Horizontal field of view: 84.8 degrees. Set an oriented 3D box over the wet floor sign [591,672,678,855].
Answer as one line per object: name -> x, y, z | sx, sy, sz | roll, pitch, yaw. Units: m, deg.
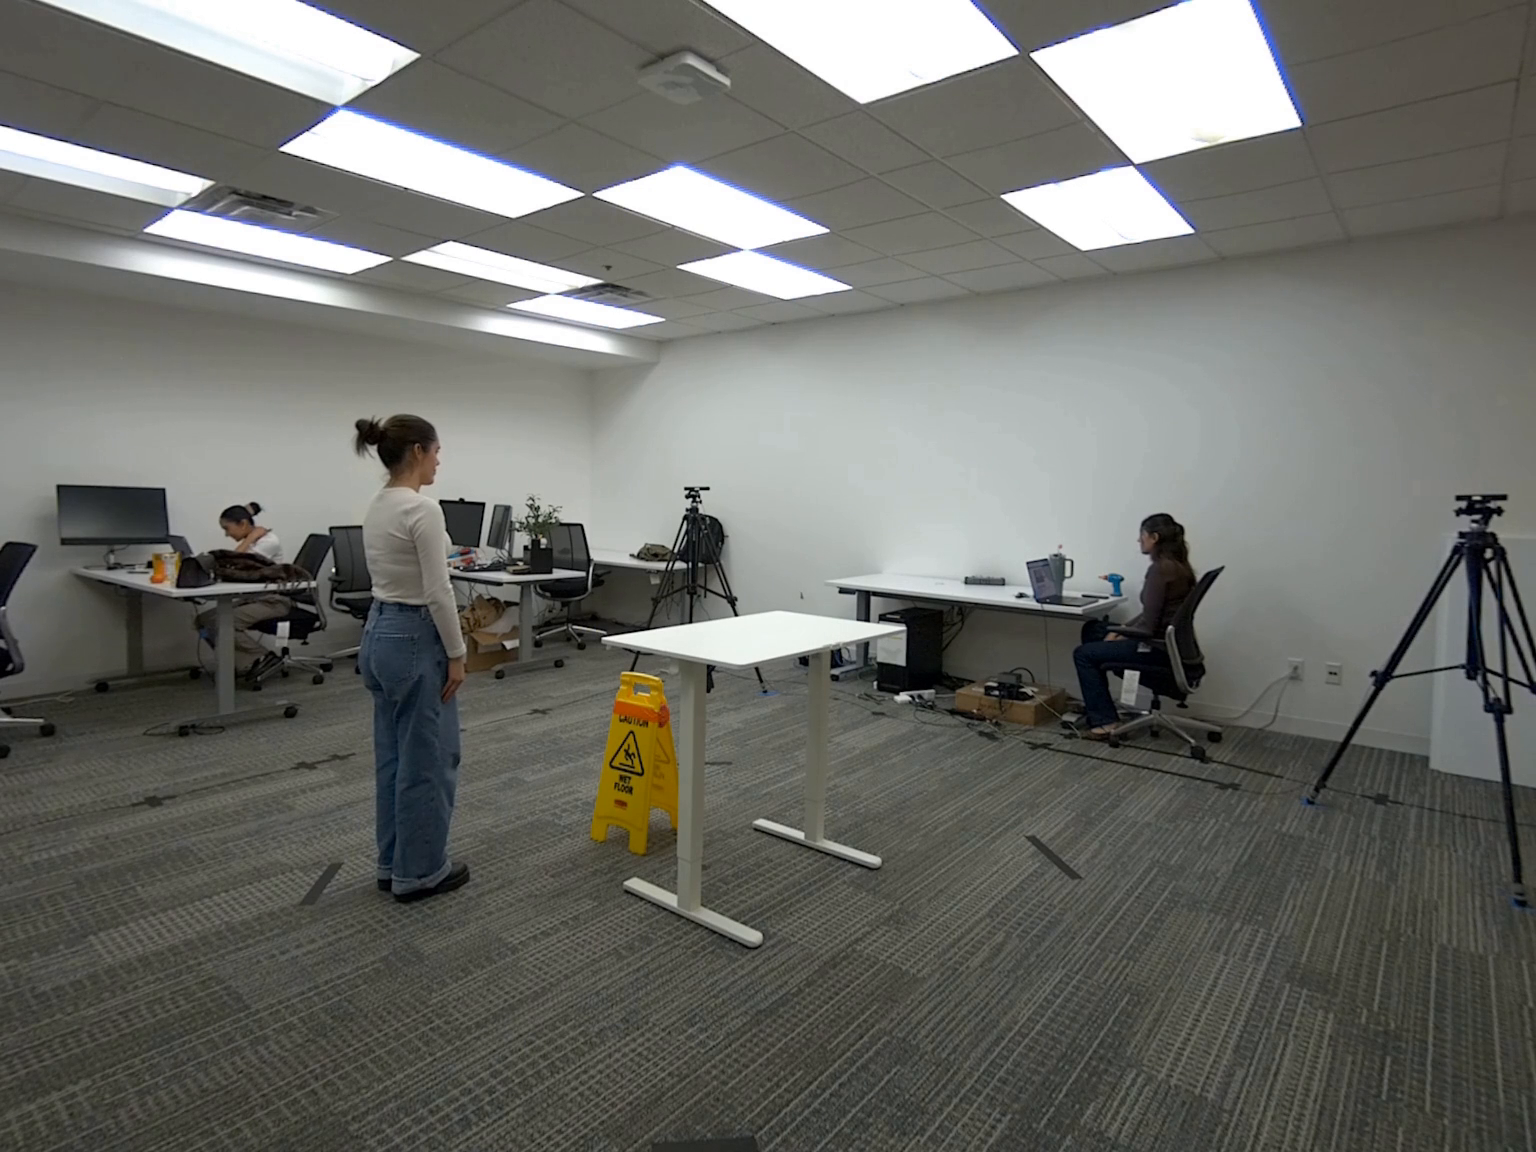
wet floor sign -> -0.523, 0.712, 3.389 | 0.291, 0.644, 0.282 | 2, 3, 33
